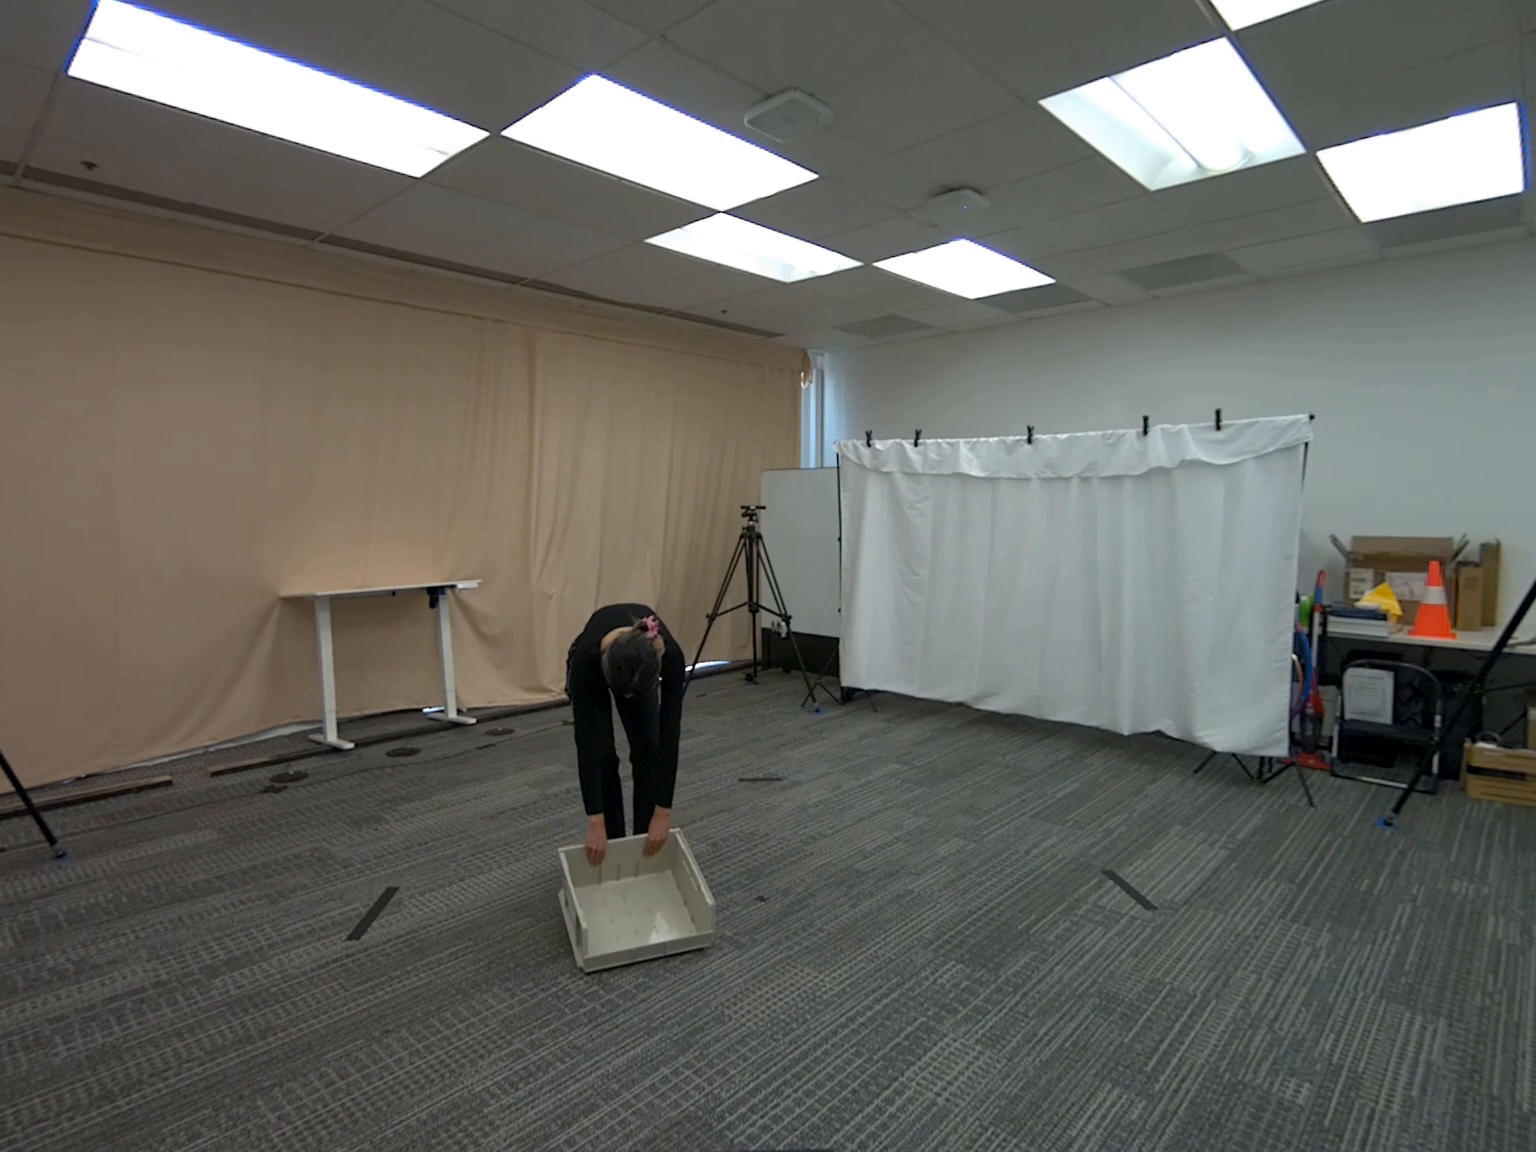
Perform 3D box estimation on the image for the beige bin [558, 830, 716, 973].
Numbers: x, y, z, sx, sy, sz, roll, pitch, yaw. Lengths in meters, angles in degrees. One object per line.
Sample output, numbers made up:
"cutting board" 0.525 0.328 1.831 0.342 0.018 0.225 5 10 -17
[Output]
"beige bin" -0.427 1.041 2.703 0.413 0.187 0.390 -4 24 -23
